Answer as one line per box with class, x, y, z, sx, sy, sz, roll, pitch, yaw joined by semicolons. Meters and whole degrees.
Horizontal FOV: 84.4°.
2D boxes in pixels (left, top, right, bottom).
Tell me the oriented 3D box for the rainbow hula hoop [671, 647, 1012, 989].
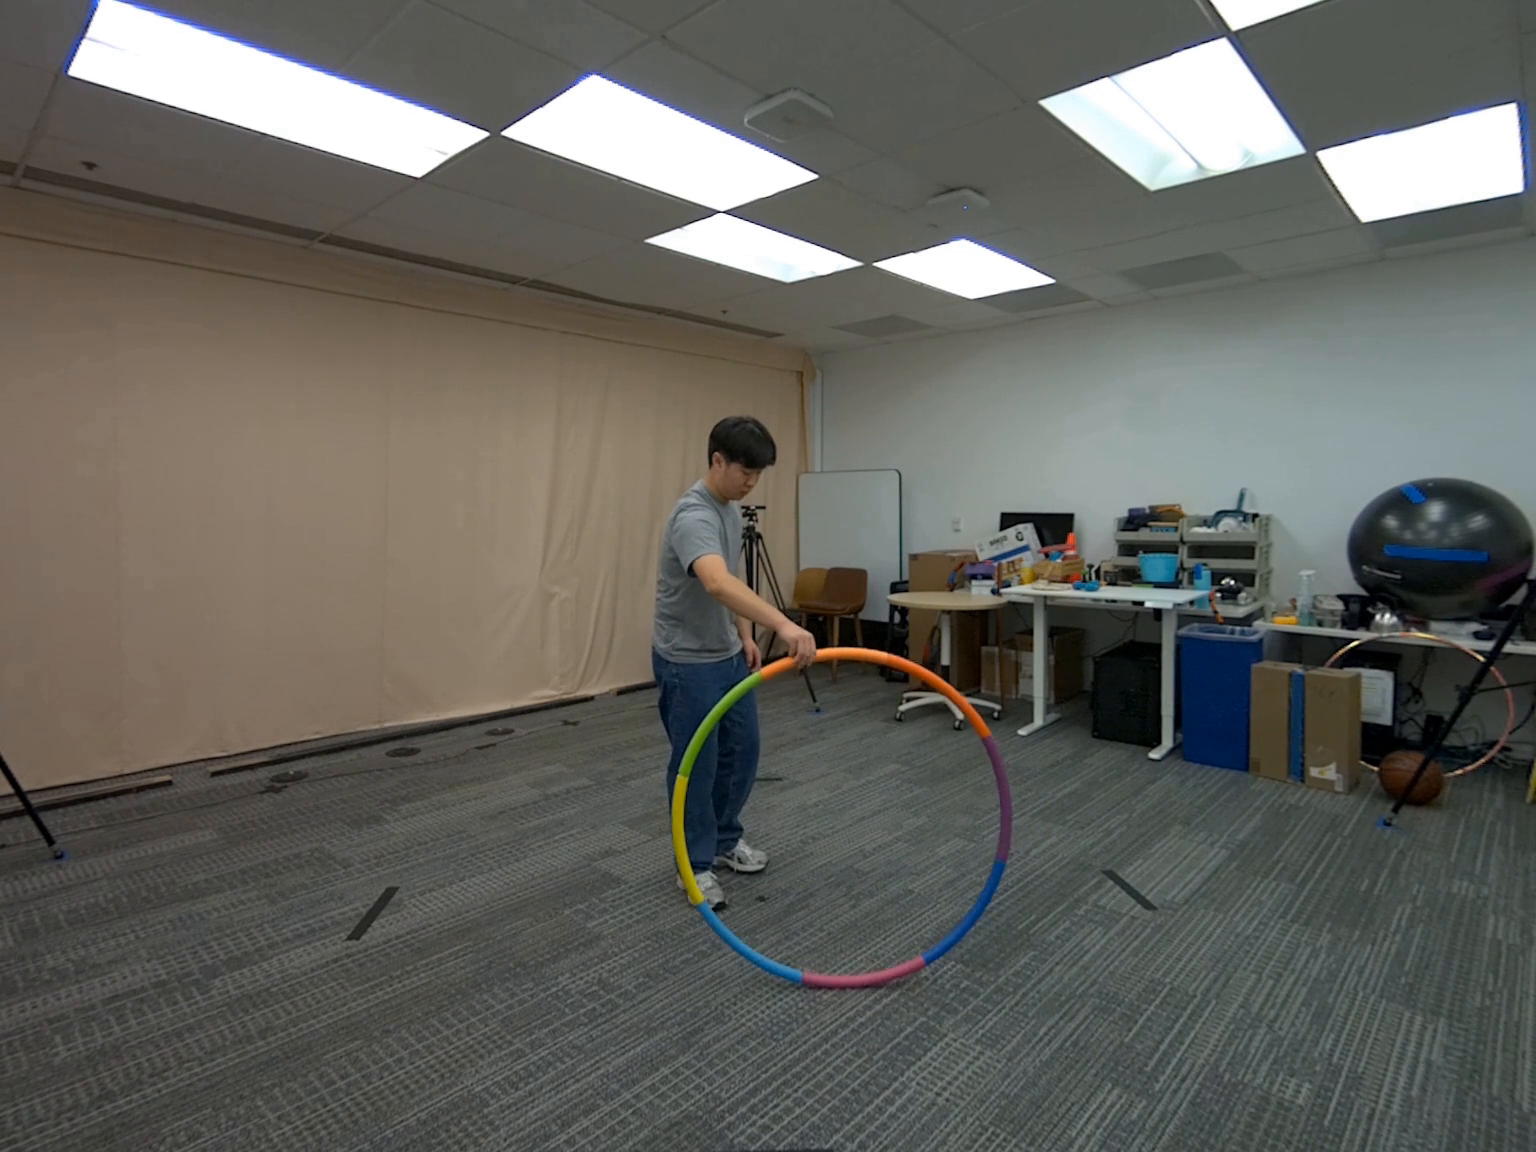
rainbow hula hoop;0.228;0.699;2.448;0.977;0.979;0.035;0;-1;-1
